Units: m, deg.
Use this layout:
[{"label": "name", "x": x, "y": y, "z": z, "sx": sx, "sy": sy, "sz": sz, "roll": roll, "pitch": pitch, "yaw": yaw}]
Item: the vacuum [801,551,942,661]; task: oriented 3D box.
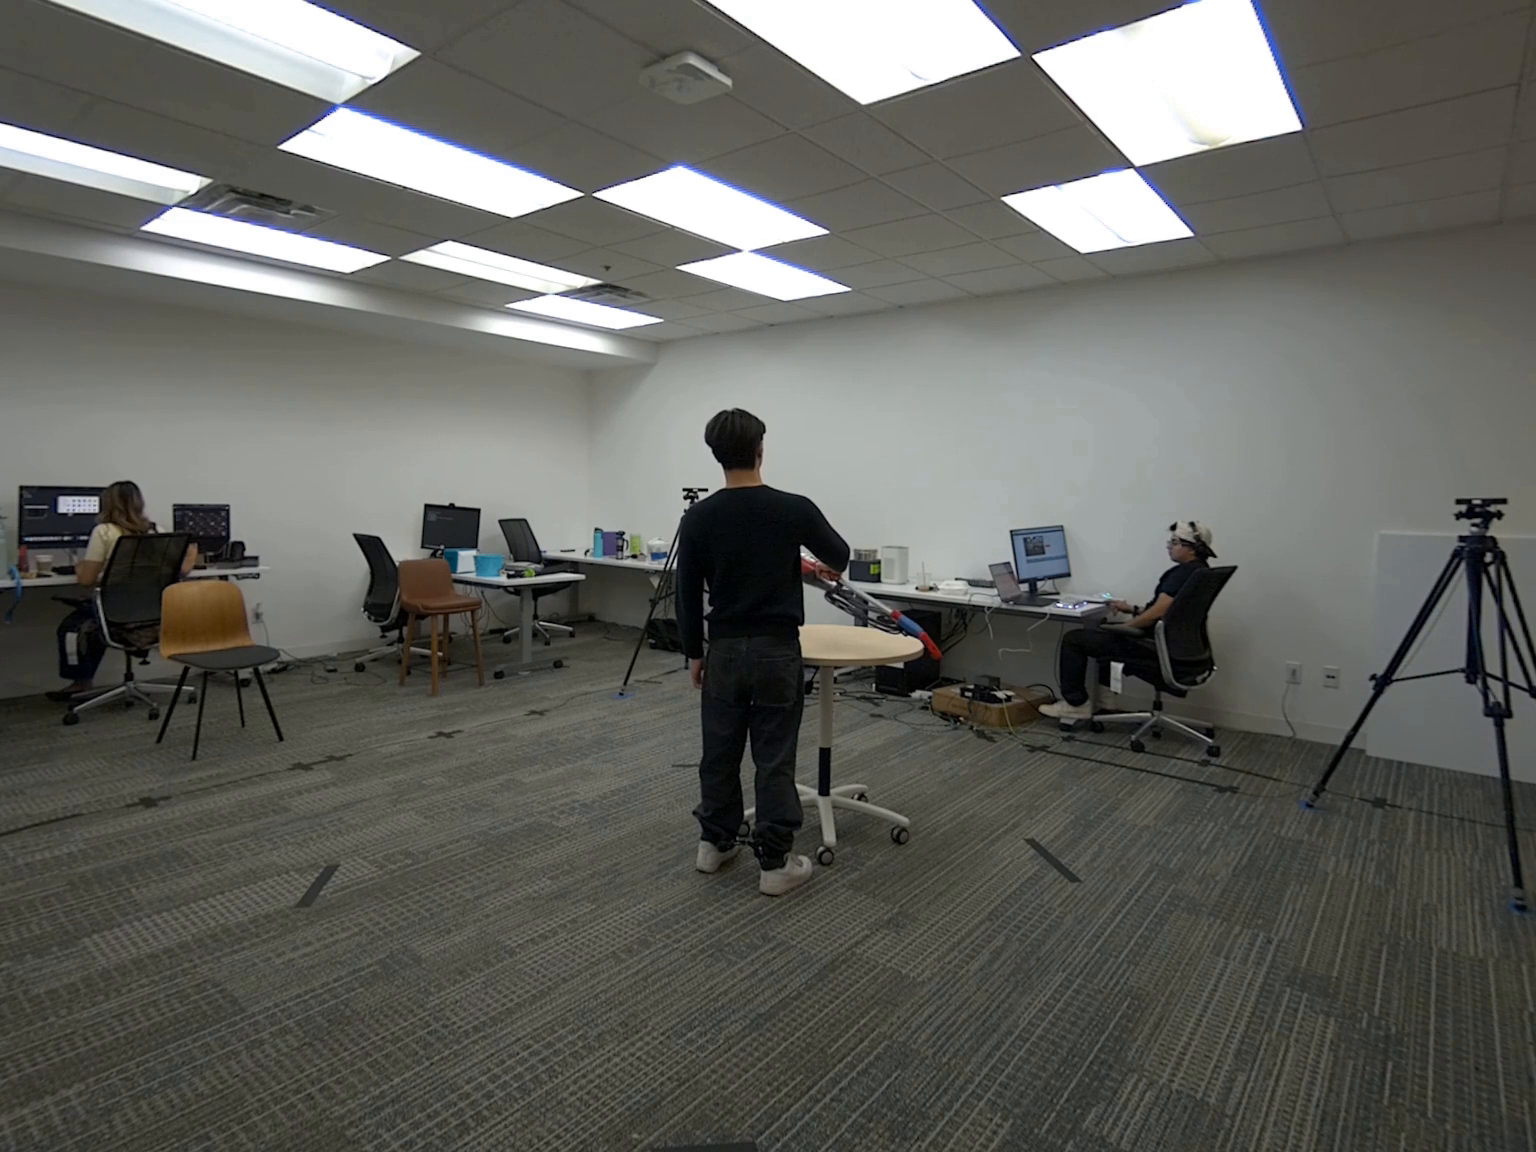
[{"label": "vacuum", "x": 0.291, "y": 0.061, "z": 3.391, "sx": 0.249, "sy": 0.140, "sz": 1.095, "roll": -22, "pitch": 38, "yaw": -28}]
